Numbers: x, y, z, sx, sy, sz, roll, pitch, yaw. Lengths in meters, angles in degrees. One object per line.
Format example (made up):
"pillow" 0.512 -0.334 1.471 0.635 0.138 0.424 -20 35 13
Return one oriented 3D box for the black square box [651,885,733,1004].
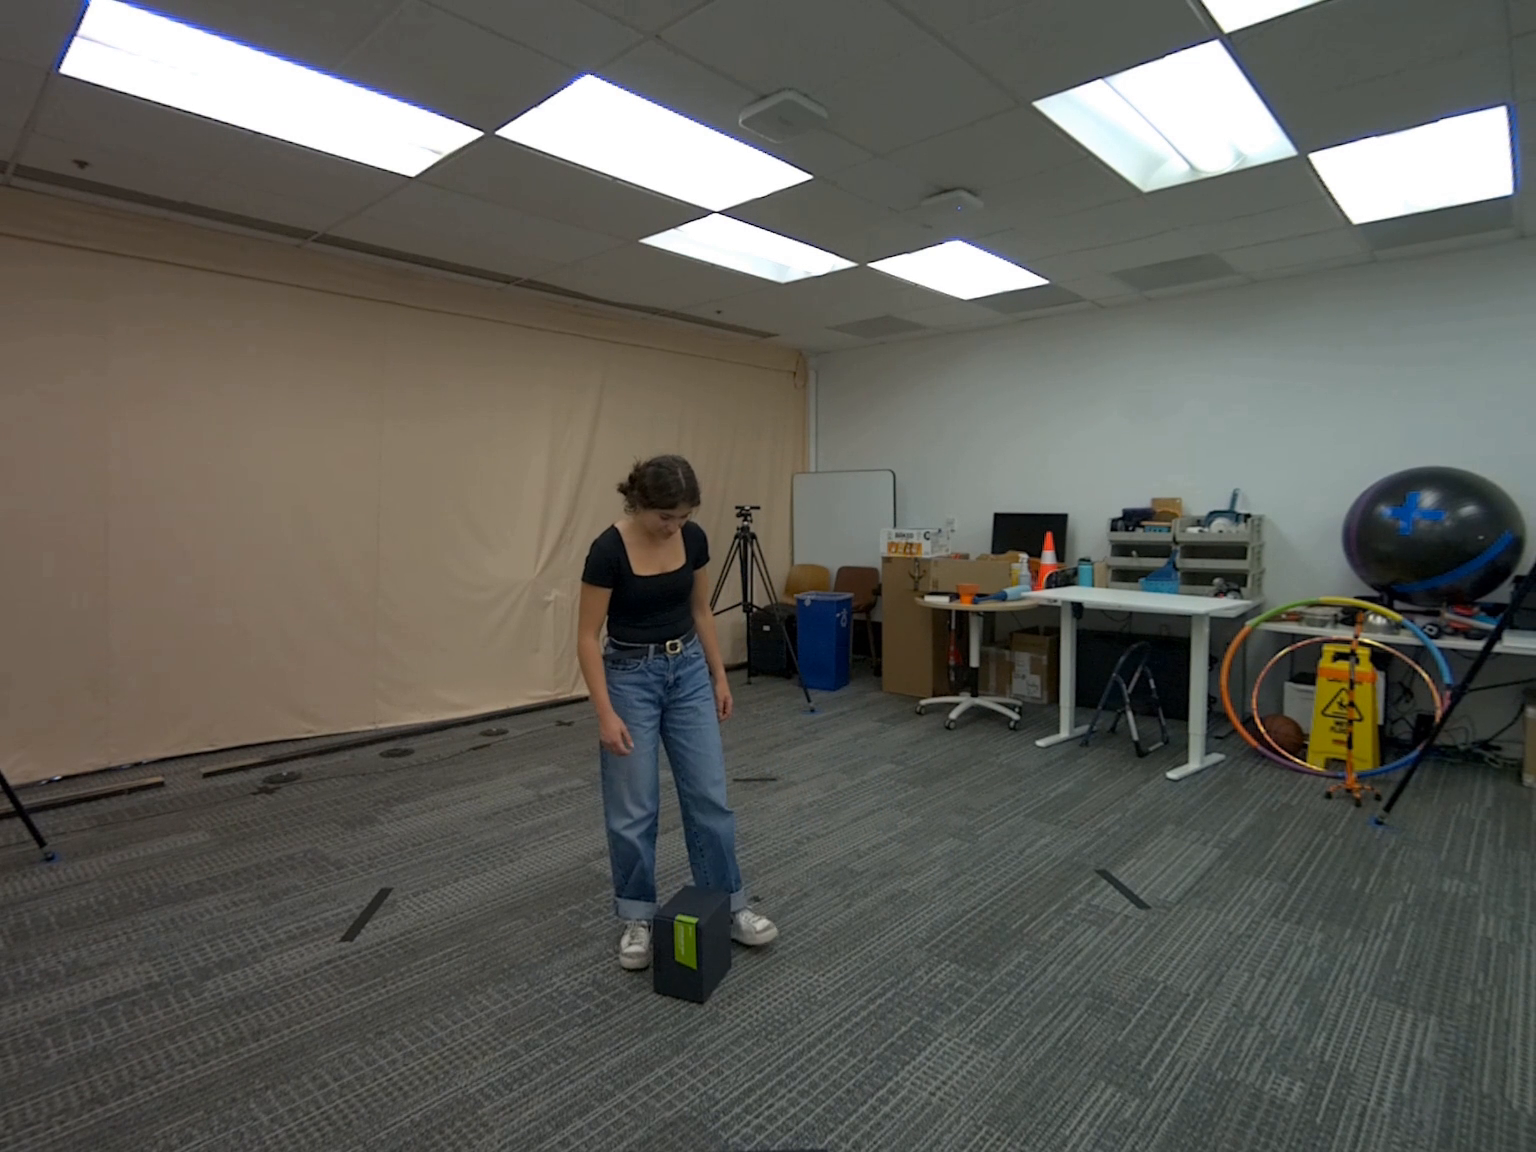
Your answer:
"black square box" -0.220 1.066 2.465 0.159 0.227 0.212 0 4 22
